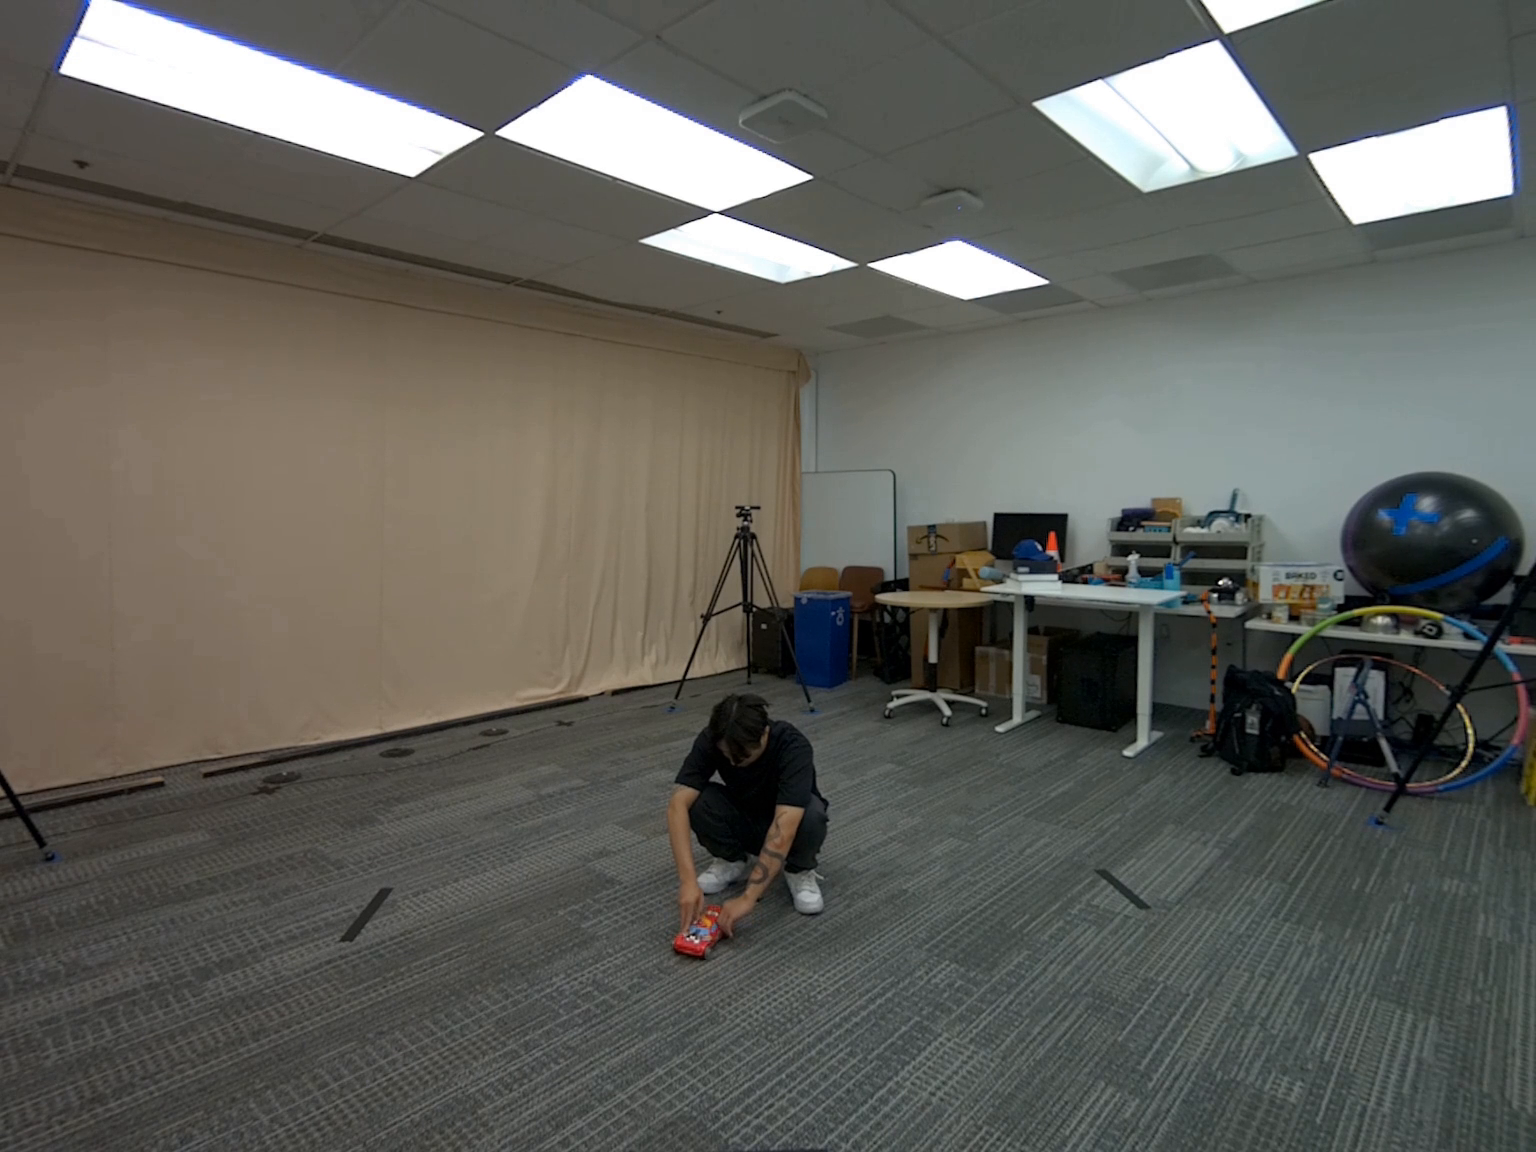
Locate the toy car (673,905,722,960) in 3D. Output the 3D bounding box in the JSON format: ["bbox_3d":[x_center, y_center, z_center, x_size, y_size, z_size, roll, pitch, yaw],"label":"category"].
[{"bbox_3d":[-0.201,1.131,2.694,0.134,0.082,0.250,2,16,25],"label":"toy car"}]
